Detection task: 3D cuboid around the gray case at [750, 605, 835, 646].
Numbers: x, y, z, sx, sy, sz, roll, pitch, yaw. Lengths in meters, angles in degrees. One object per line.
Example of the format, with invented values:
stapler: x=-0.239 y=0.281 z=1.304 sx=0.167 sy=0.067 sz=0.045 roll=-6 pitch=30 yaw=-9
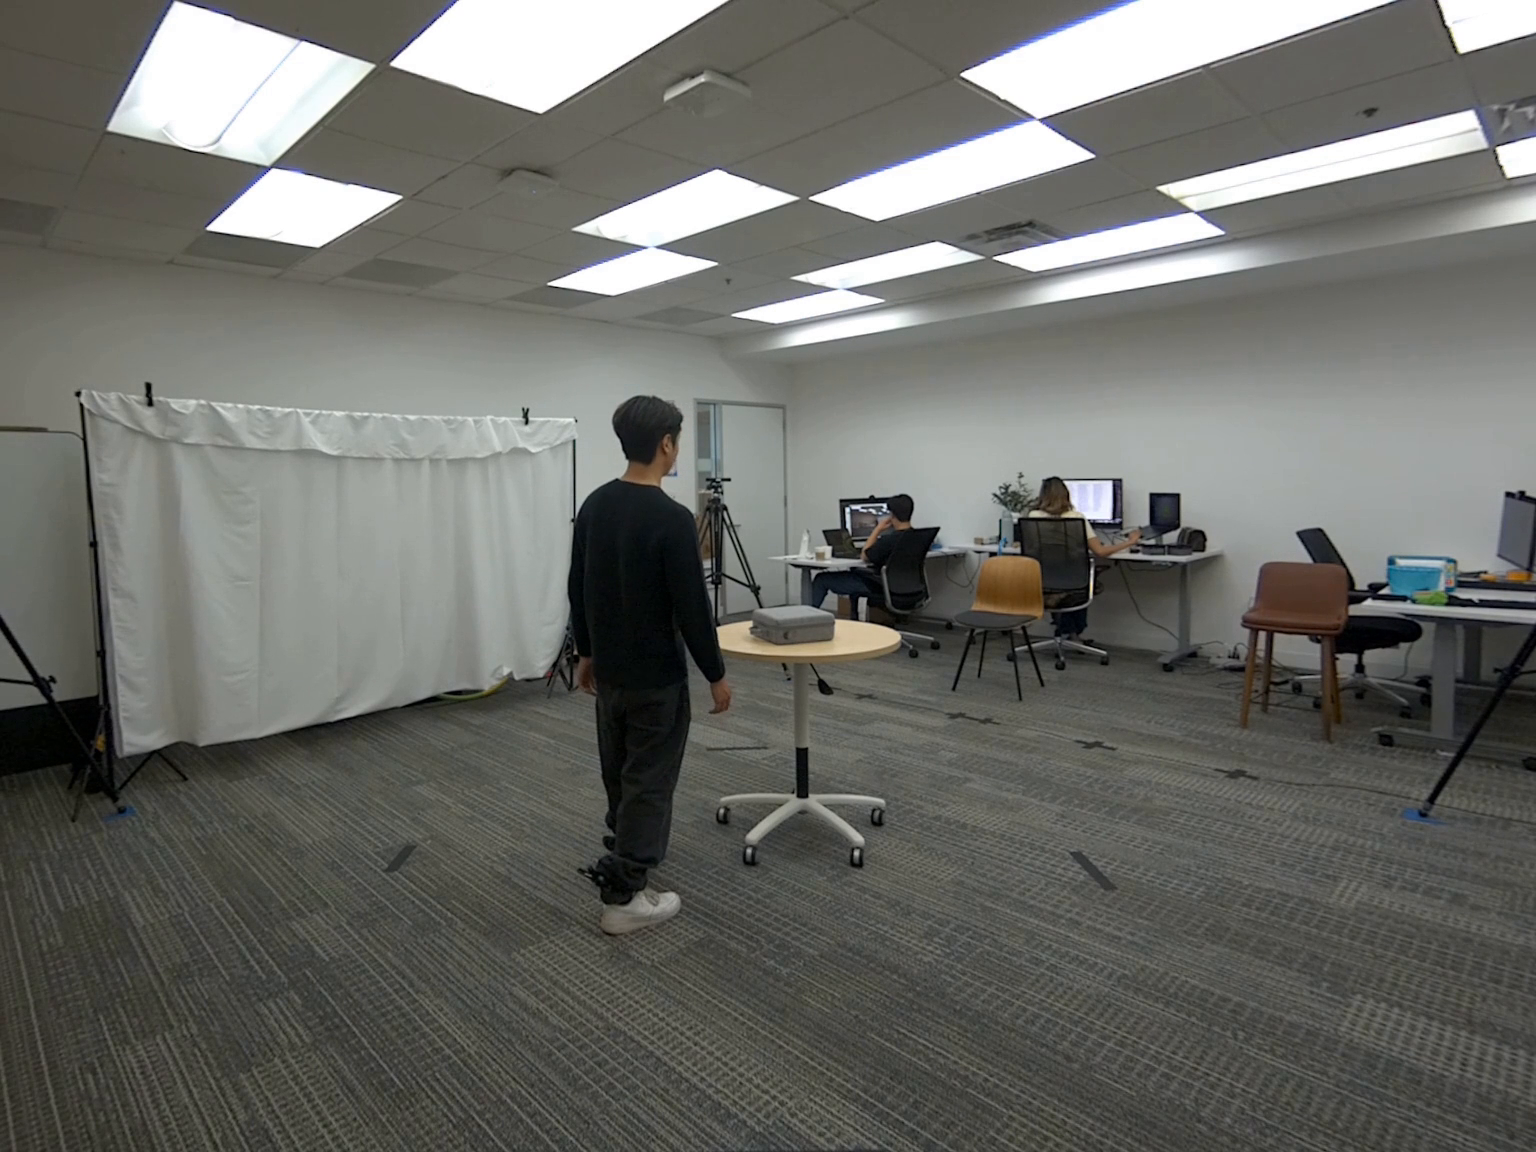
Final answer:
gray case: x=0.091 y=0.184 z=3.267 sx=0.256 sy=0.104 sz=0.263 roll=-4 pitch=8 yaw=-21
